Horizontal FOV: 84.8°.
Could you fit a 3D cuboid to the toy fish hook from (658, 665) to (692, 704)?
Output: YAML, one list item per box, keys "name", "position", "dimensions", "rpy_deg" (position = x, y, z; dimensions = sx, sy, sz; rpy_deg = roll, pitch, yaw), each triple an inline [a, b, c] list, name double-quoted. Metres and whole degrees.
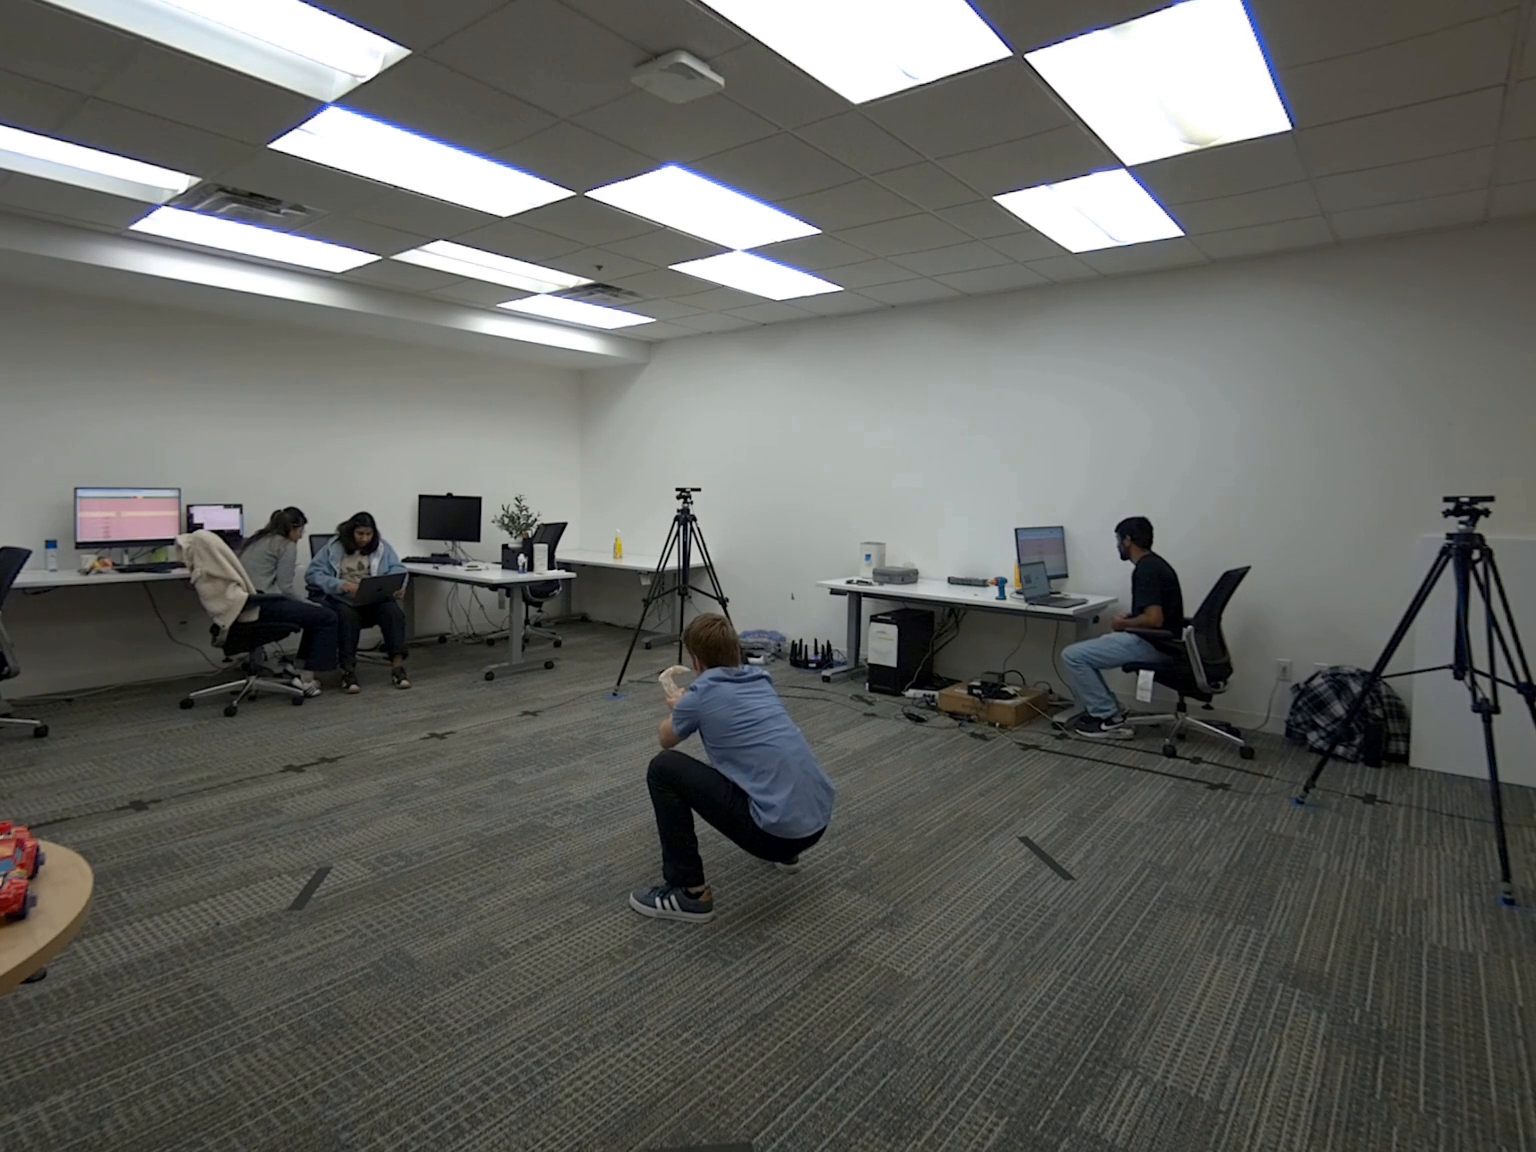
- name: "toy fish hook"
  position: [-0.270, 0.461, 3.572]
  dimensions: [0.490, 0.048, 0.233]
  rpy_deg: [-1, 44, -49]
